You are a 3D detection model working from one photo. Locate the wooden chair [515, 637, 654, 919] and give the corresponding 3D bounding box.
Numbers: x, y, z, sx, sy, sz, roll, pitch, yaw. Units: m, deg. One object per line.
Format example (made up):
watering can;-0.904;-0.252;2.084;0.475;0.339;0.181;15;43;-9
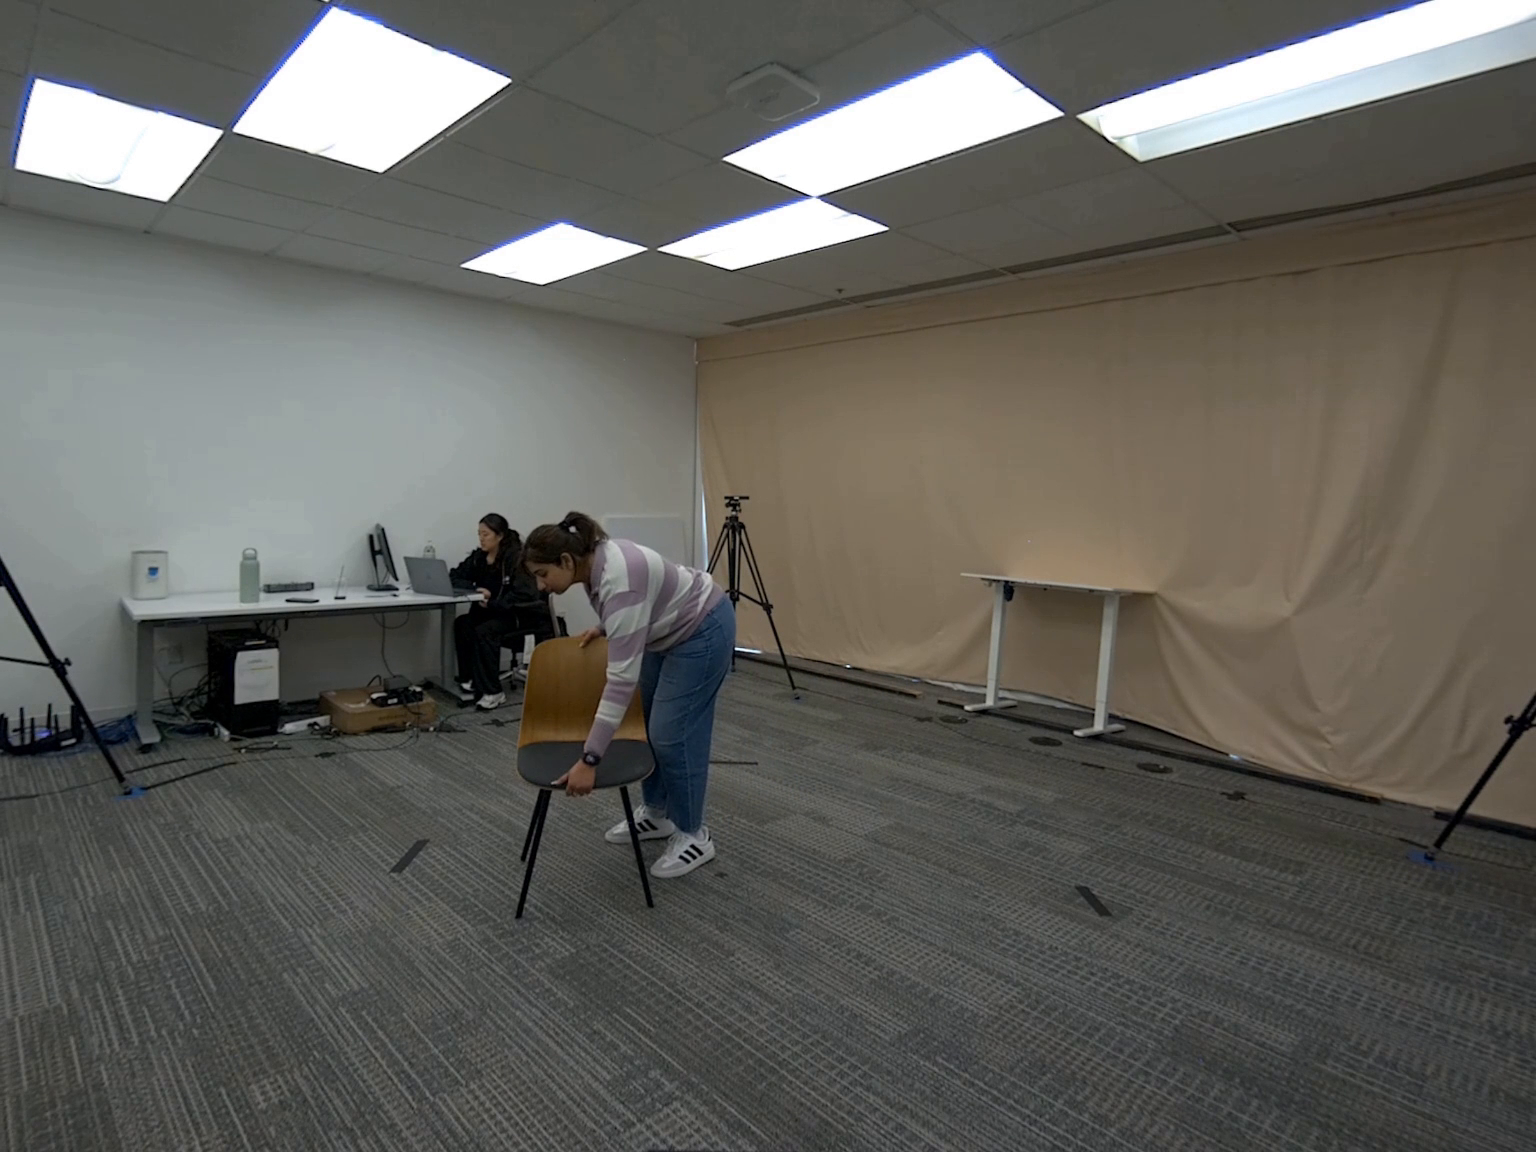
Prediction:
wooden chair;-0.651;0.681;2.971;0.473;0.878;0.529;1;0;-14
